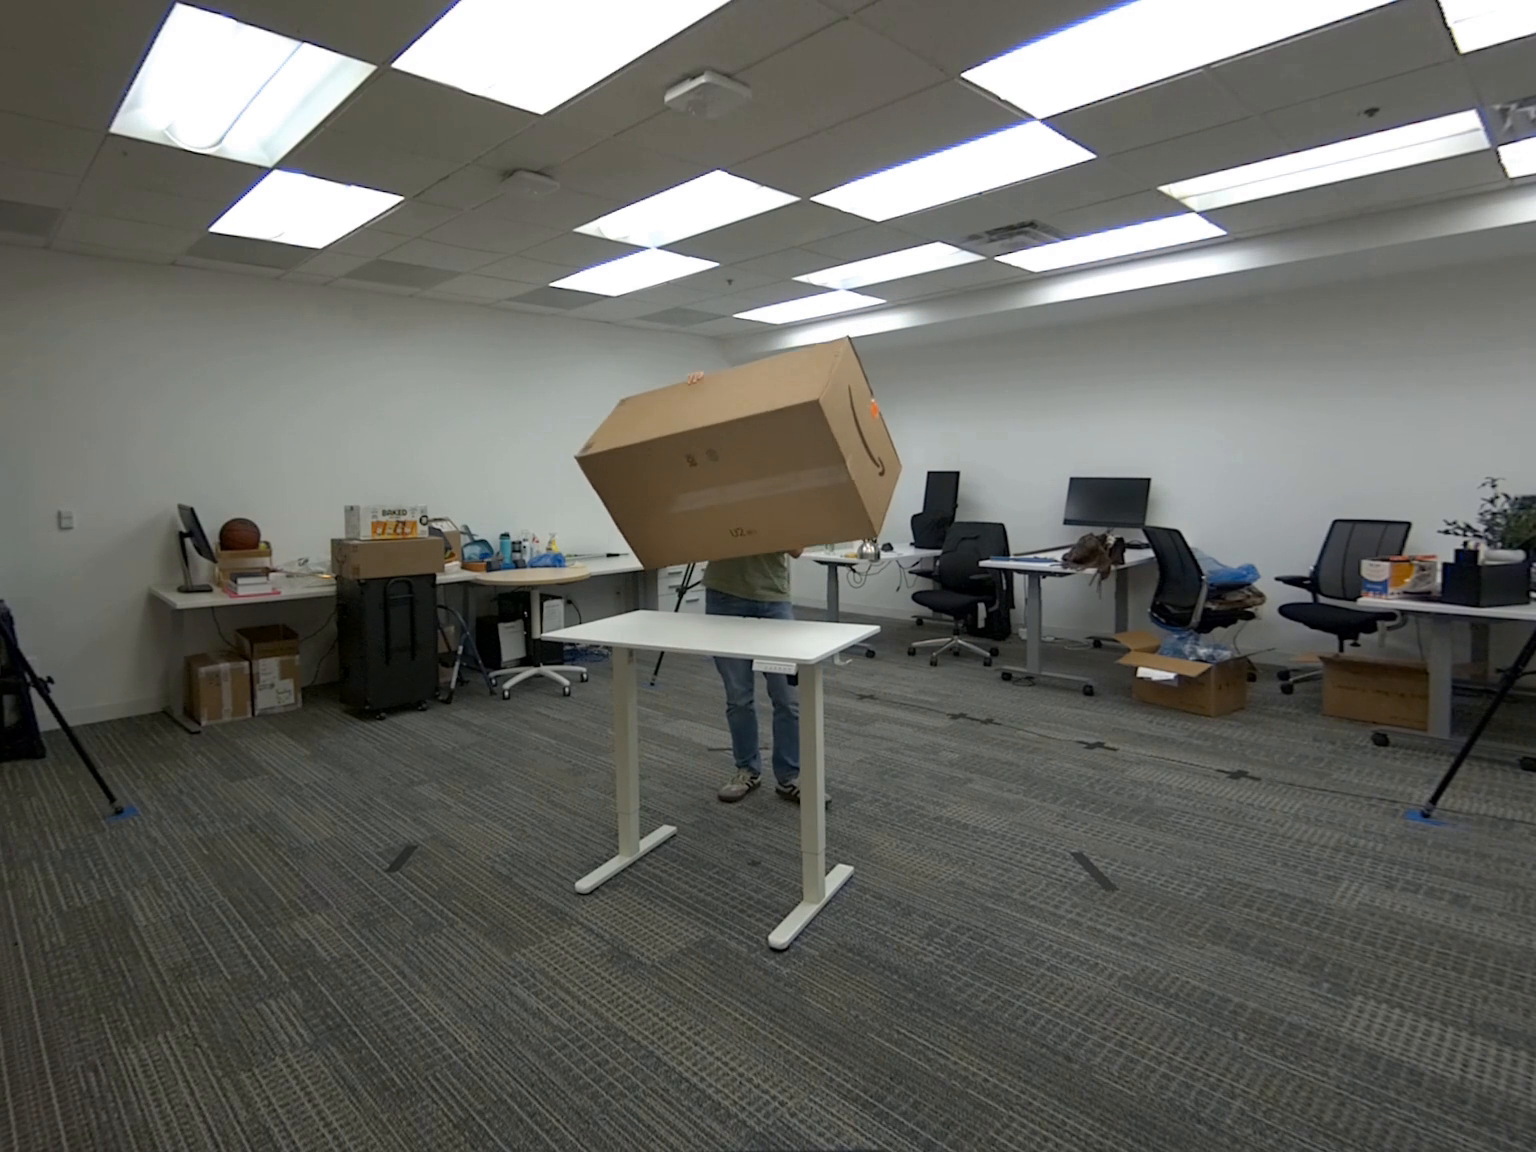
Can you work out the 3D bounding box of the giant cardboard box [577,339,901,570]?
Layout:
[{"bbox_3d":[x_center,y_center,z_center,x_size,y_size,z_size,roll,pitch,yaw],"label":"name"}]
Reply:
[{"bbox_3d":[-0.107,-0.429,3.214,1.049,0.559,0.430,-7,37,32],"label":"giant cardboard box"}]
